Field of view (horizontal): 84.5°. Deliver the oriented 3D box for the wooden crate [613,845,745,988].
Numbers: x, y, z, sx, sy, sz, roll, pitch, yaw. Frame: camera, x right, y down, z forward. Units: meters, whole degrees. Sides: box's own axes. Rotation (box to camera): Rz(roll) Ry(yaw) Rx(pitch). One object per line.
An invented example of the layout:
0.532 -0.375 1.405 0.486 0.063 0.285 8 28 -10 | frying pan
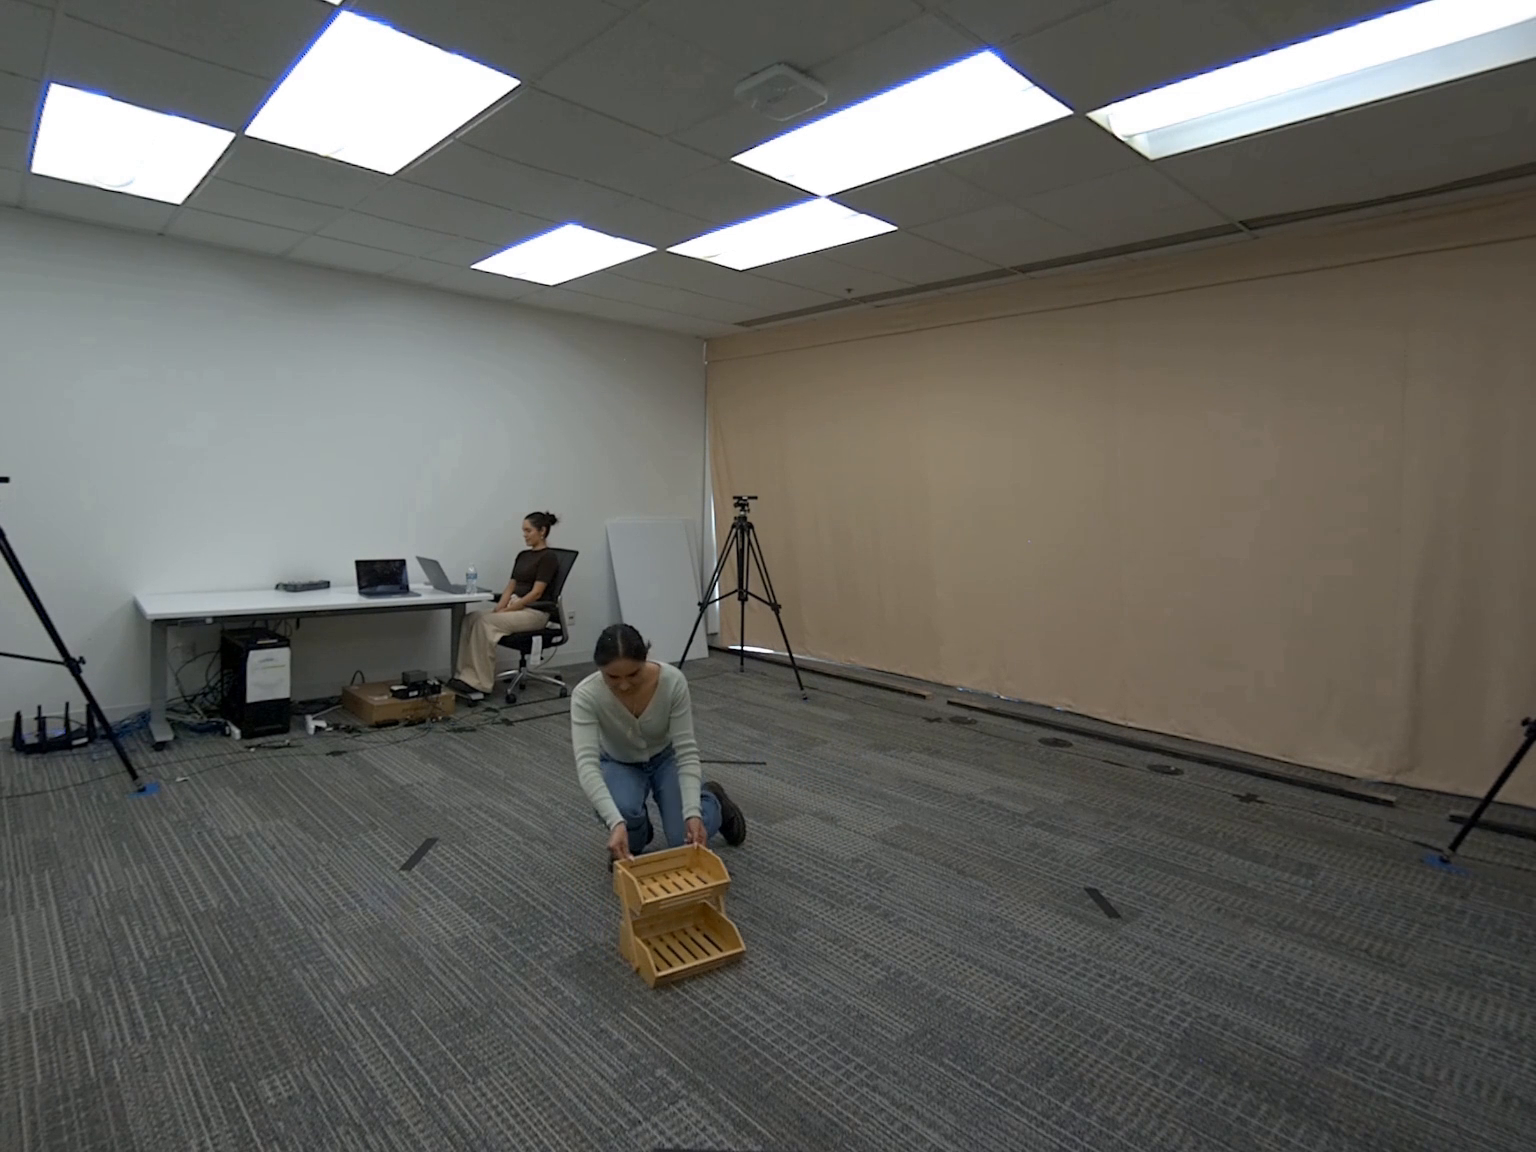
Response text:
-0.278 1.018 2.548 0.317 0.273 0.309 -1 4 -33 | wooden crate
